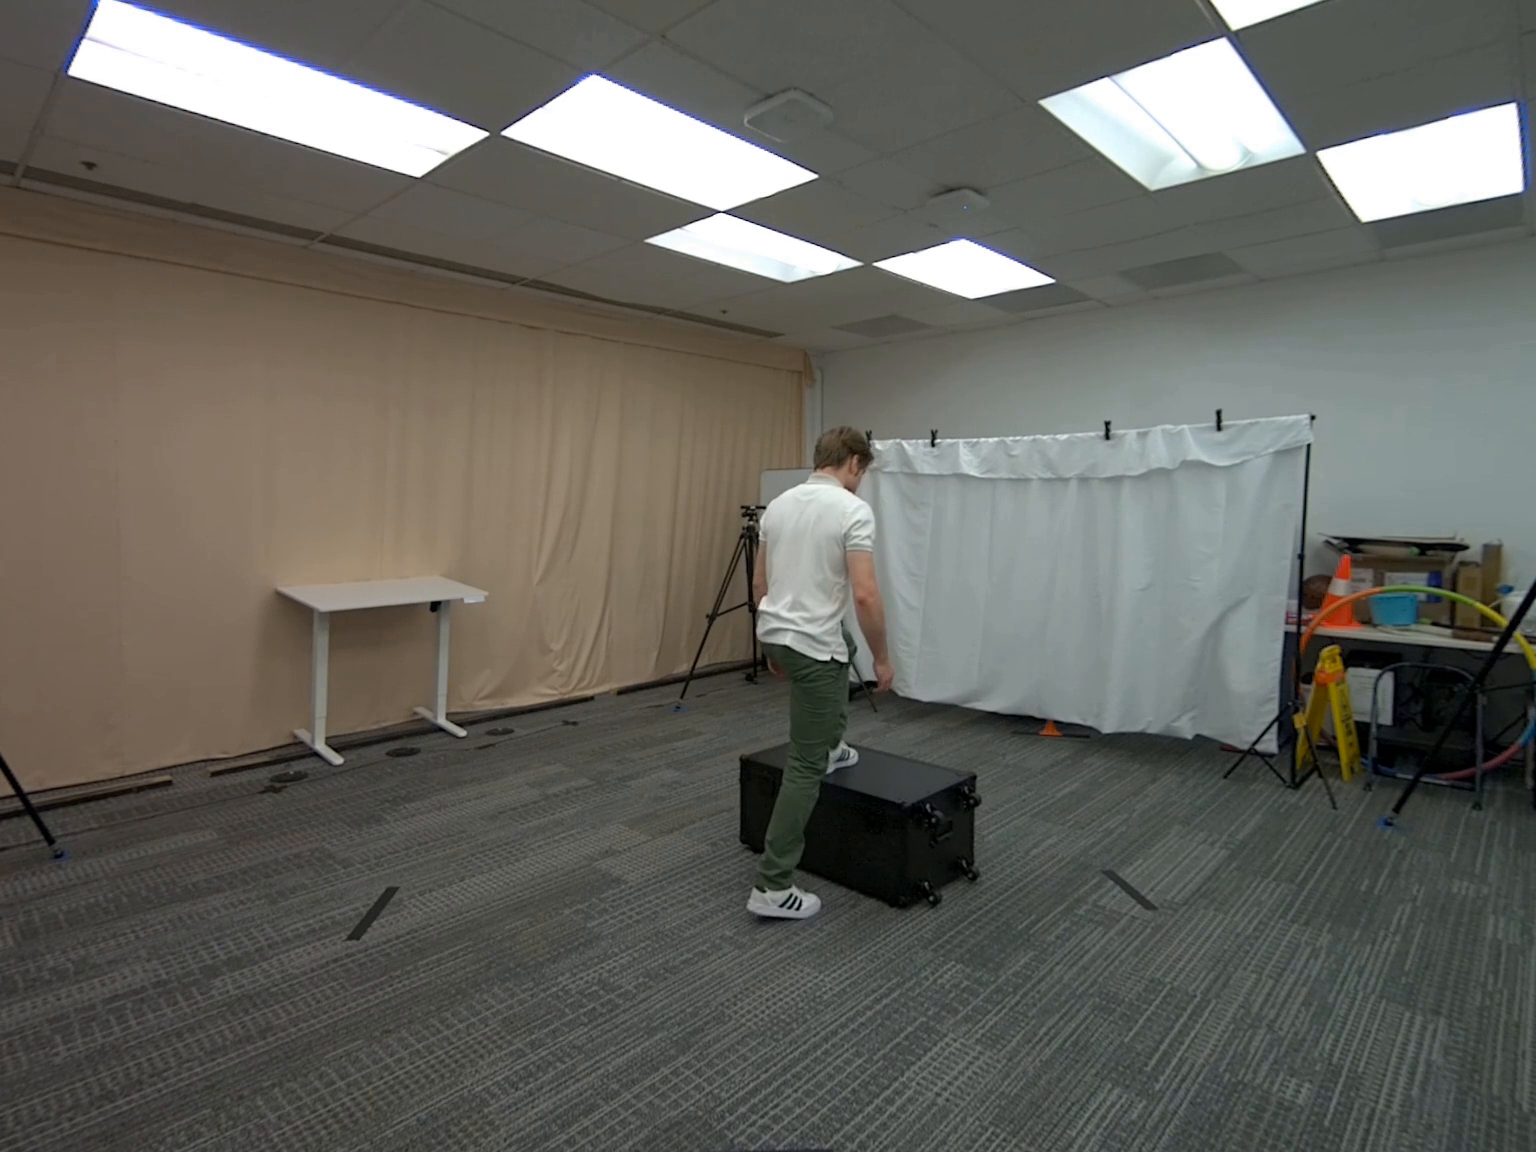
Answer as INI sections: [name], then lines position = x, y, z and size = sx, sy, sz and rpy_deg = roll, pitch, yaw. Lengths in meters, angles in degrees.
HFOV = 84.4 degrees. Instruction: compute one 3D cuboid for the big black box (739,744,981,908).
[big black box]
position = 0.362, 0.927, 3.275
size = 0.898, 0.384, 0.507
rpy_deg = 5, 5, 43
